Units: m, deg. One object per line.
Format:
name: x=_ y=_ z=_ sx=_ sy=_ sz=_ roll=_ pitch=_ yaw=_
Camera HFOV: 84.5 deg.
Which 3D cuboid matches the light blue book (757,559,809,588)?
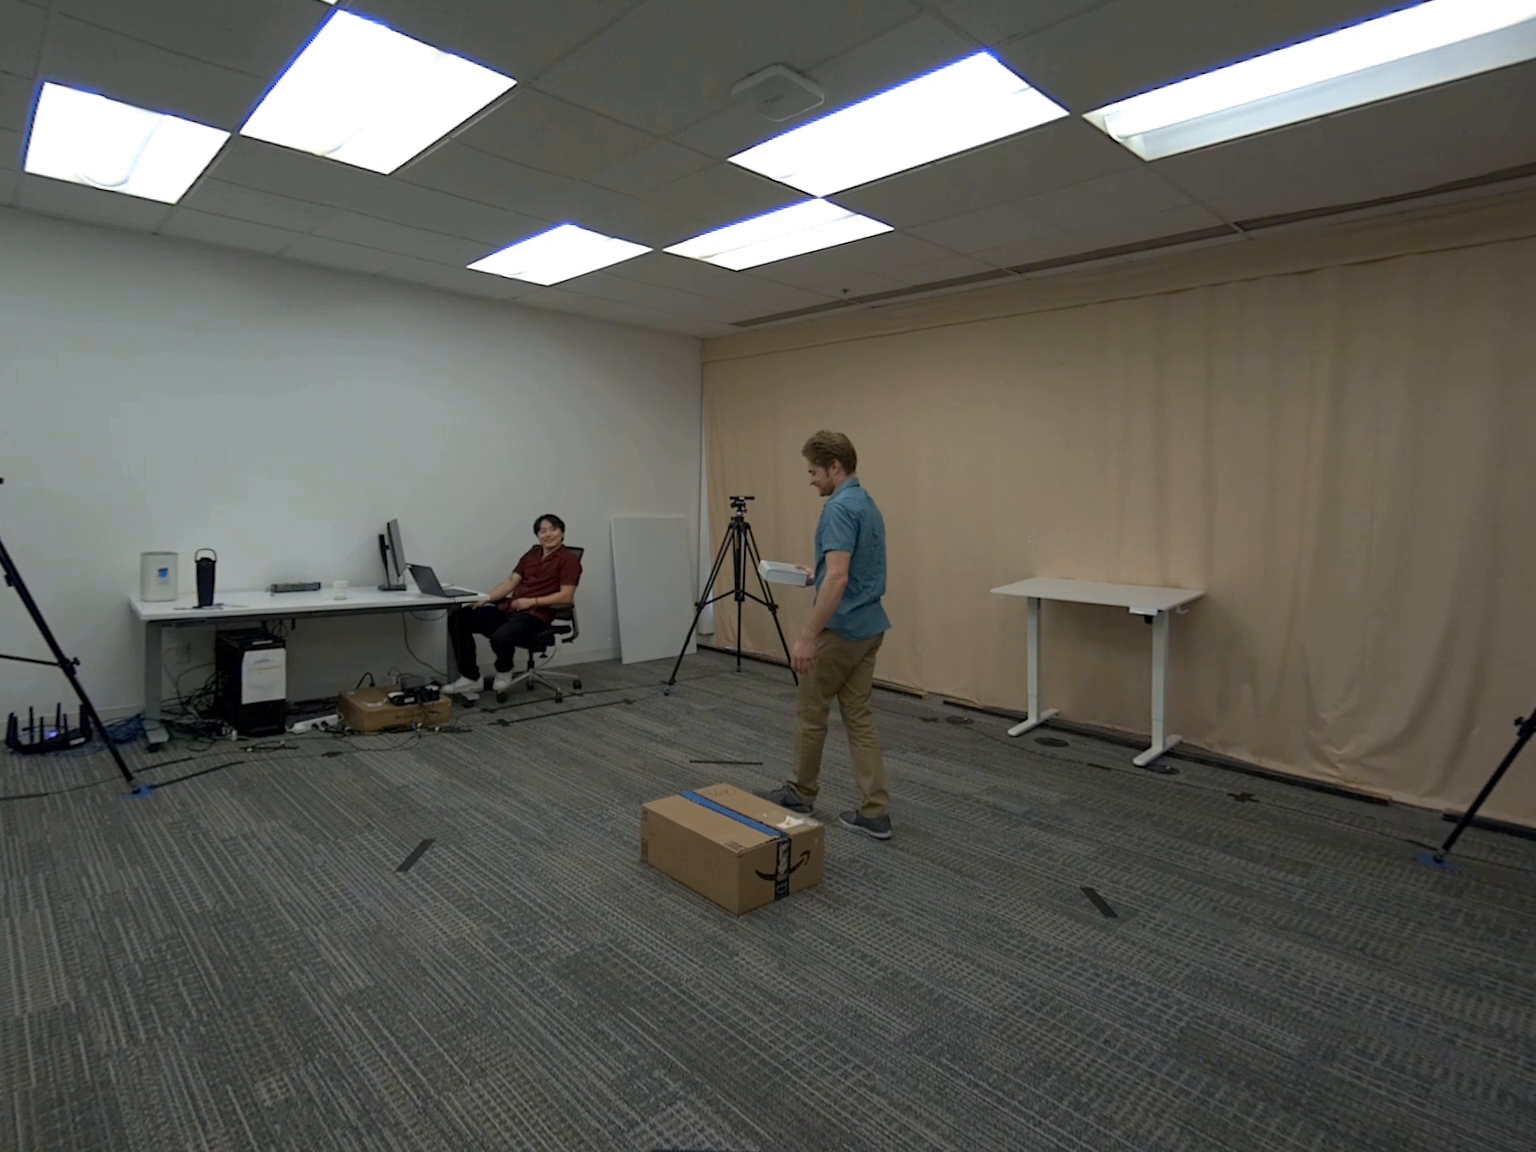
light blue book: x=0.062 y=-0.017 z=3.887 sx=0.190 sy=0.059 sz=0.264 roll=6 pitch=10 yaw=-9
